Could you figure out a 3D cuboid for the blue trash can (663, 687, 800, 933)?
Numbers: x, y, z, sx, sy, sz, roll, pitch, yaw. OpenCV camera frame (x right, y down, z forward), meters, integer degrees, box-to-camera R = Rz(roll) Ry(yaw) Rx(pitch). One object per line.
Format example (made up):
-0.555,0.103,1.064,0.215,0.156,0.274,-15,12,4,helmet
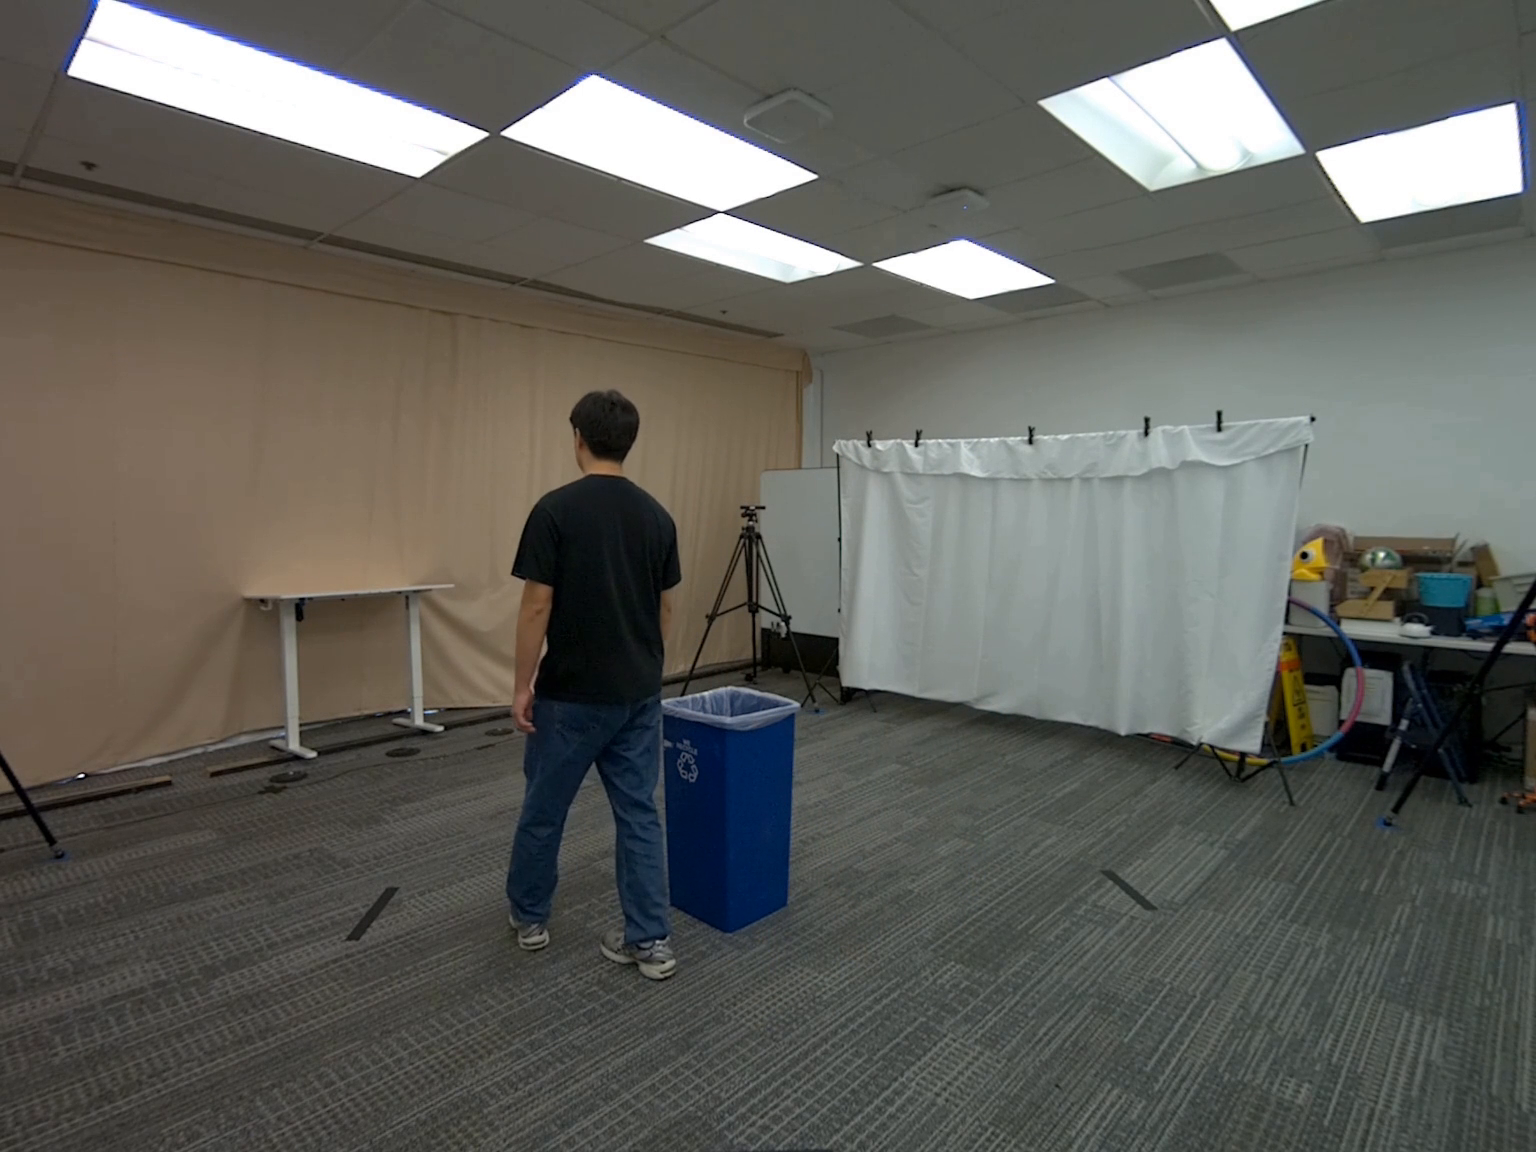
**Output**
-0.126,0.791,2.922,0.386,0.712,0.366,3,4,45,blue trash can
